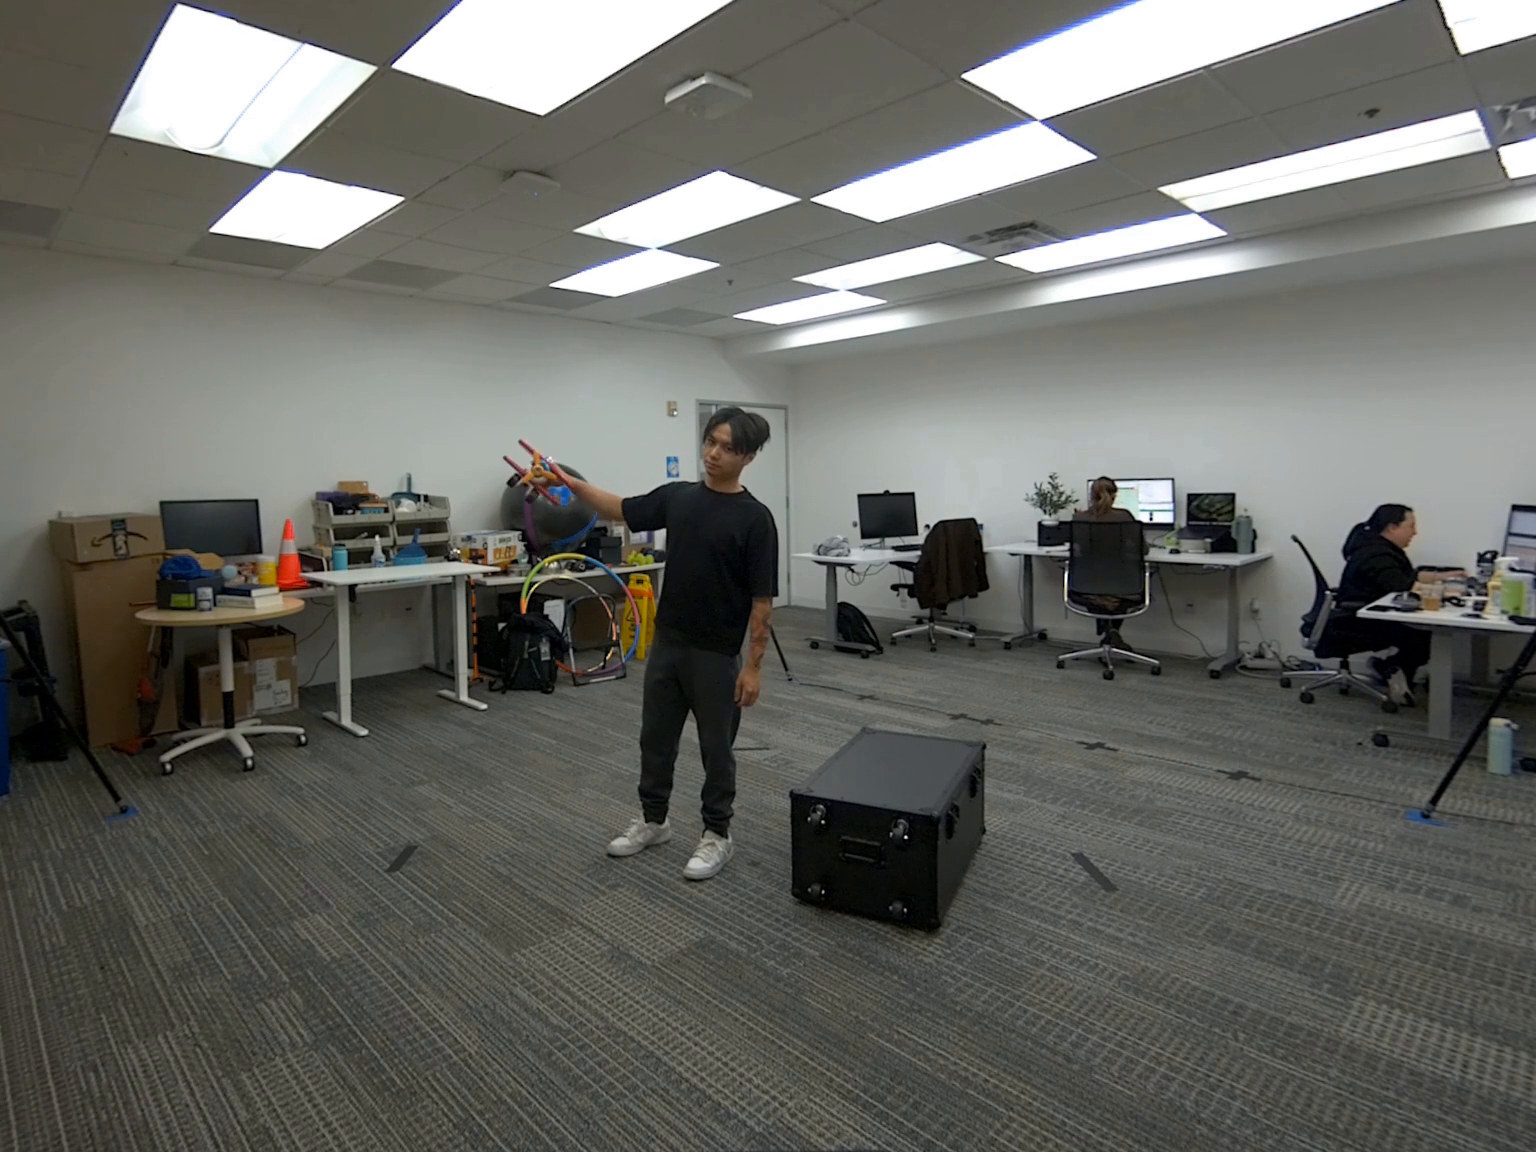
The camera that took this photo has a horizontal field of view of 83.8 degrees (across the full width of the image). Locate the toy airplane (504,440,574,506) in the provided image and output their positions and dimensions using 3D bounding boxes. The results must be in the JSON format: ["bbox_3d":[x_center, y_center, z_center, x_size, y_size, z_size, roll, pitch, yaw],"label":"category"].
[{"bbox_3d":[-0.847,-0.367,3.086,0.242,0.156,0.269,40,5,-38],"label":"toy airplane"}]
